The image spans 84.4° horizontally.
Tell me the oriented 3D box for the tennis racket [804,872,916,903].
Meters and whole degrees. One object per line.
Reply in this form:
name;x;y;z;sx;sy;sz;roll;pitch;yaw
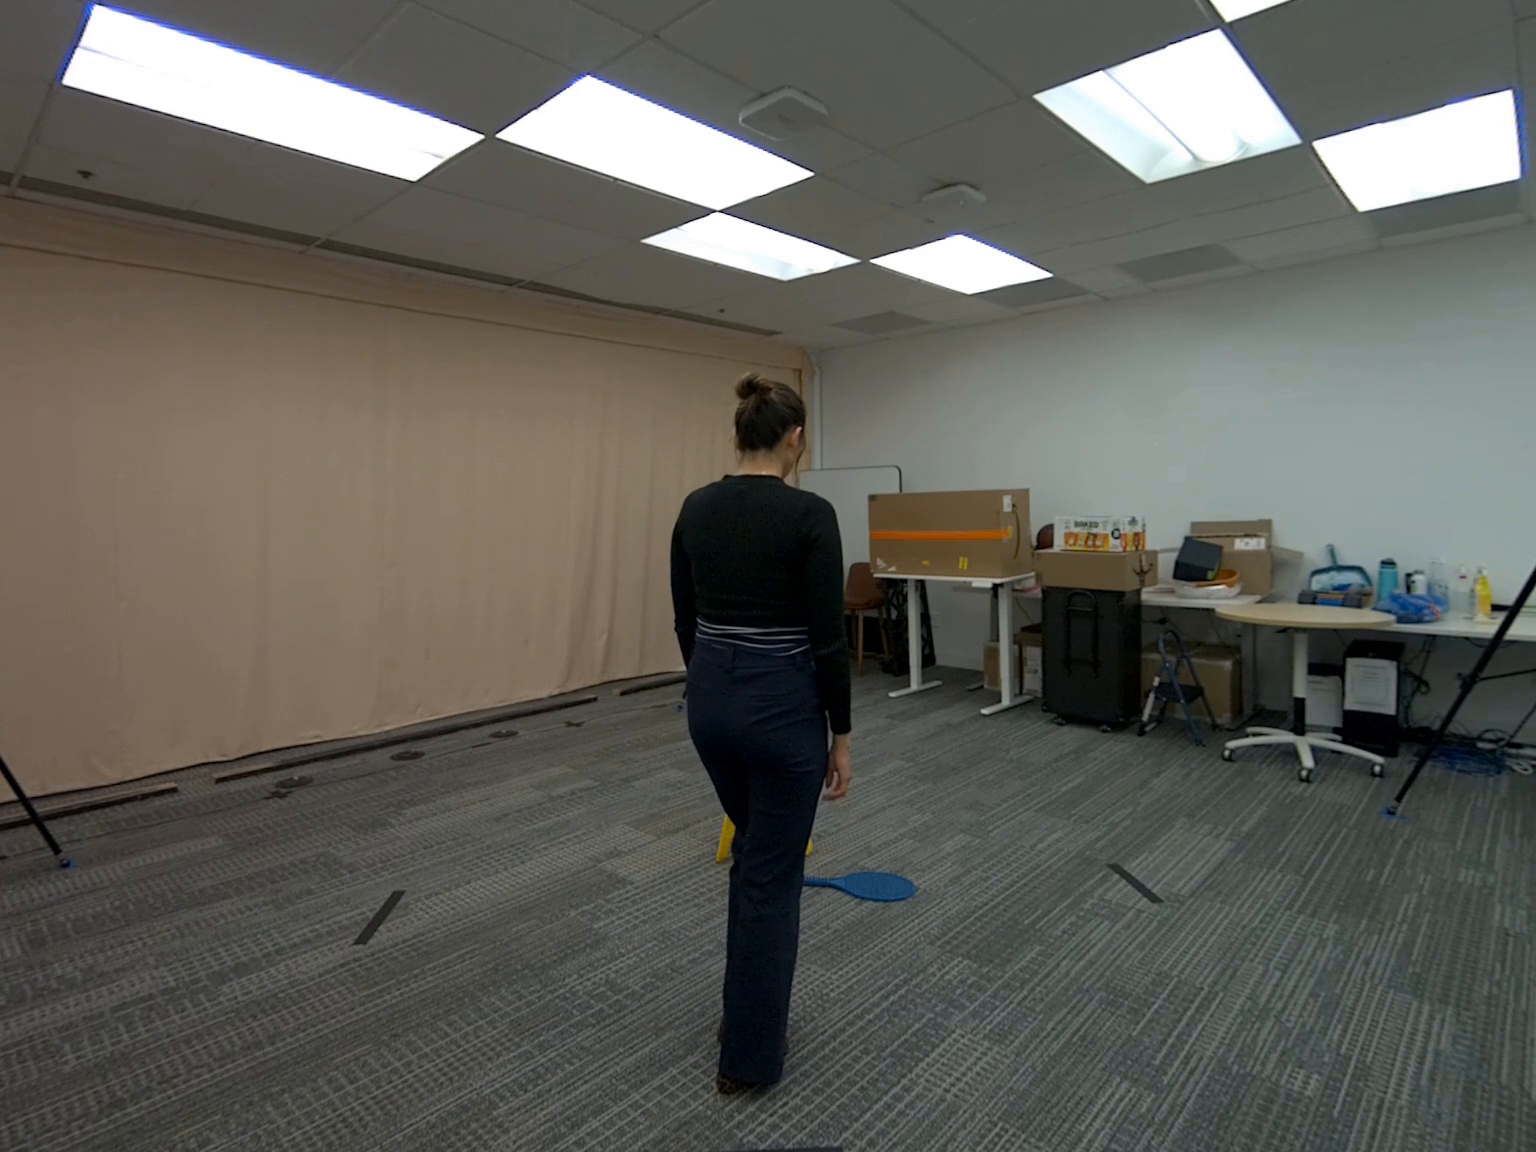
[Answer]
tennis racket;0.319;1.112;3.046;0.436;0.031;0.213;1;6;6
